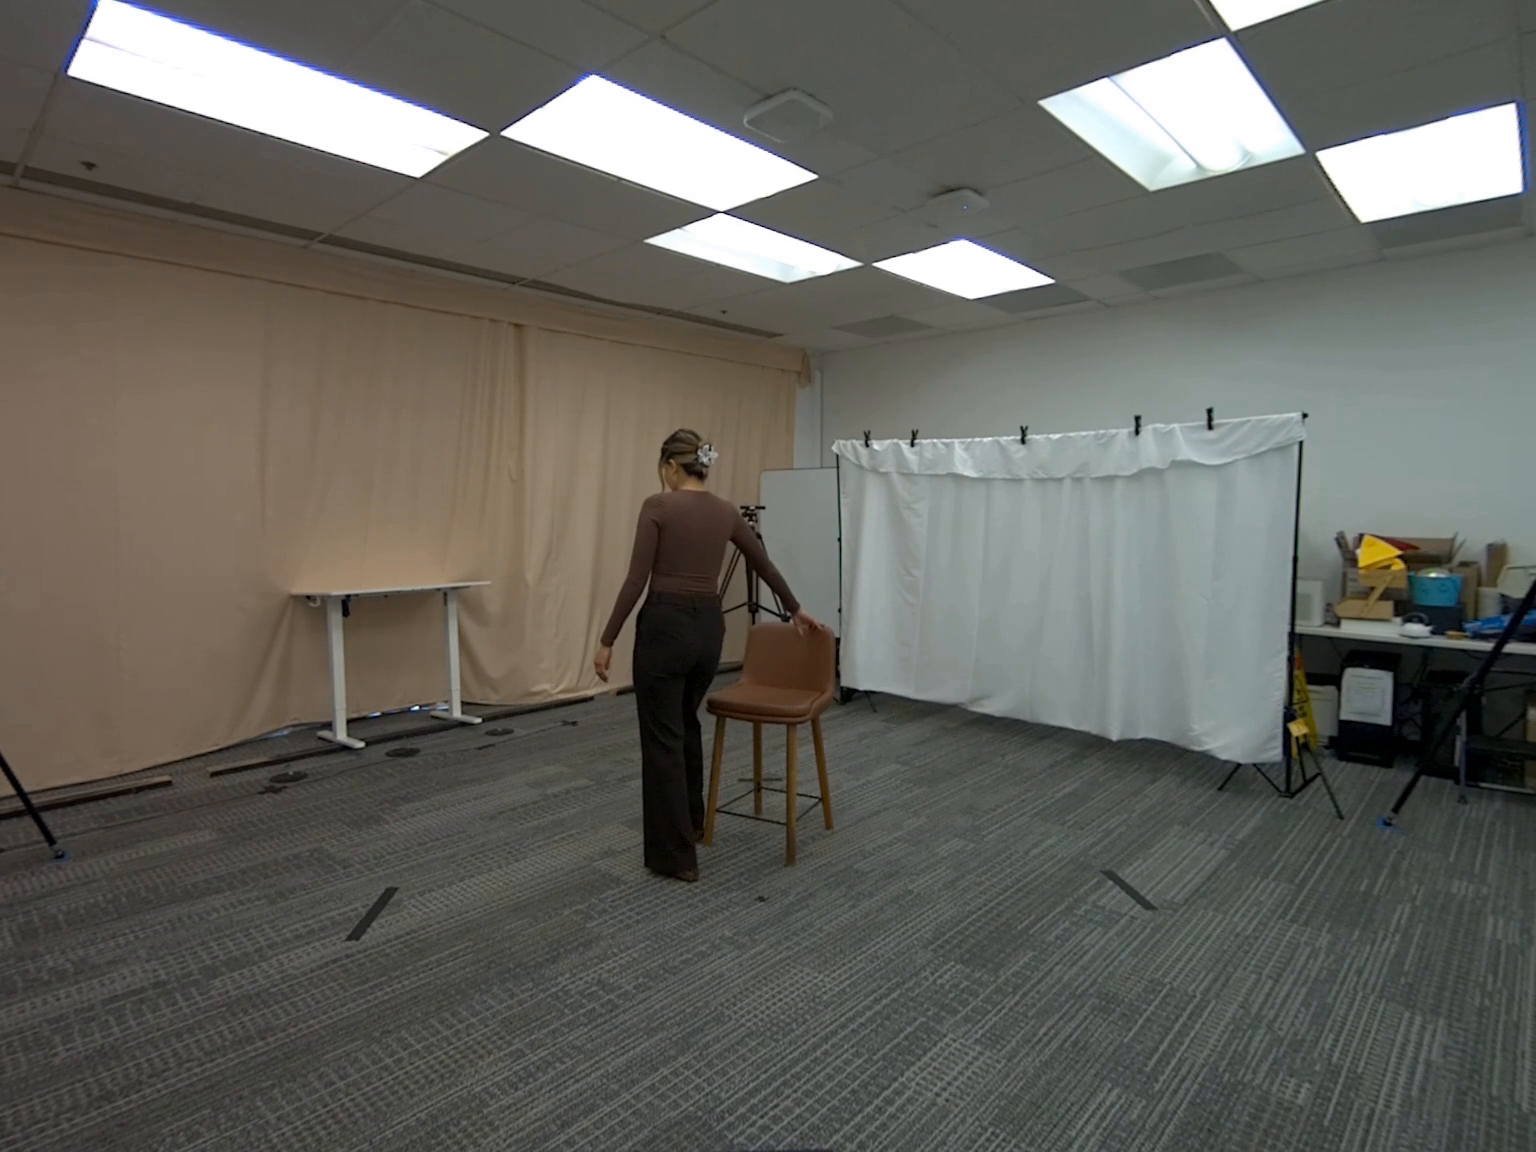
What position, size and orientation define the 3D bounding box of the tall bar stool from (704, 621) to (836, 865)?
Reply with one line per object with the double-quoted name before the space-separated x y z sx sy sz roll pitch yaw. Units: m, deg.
"tall bar stool" 0.024 0.662 3.527 0.469 0.889 0.455 2 2 29
